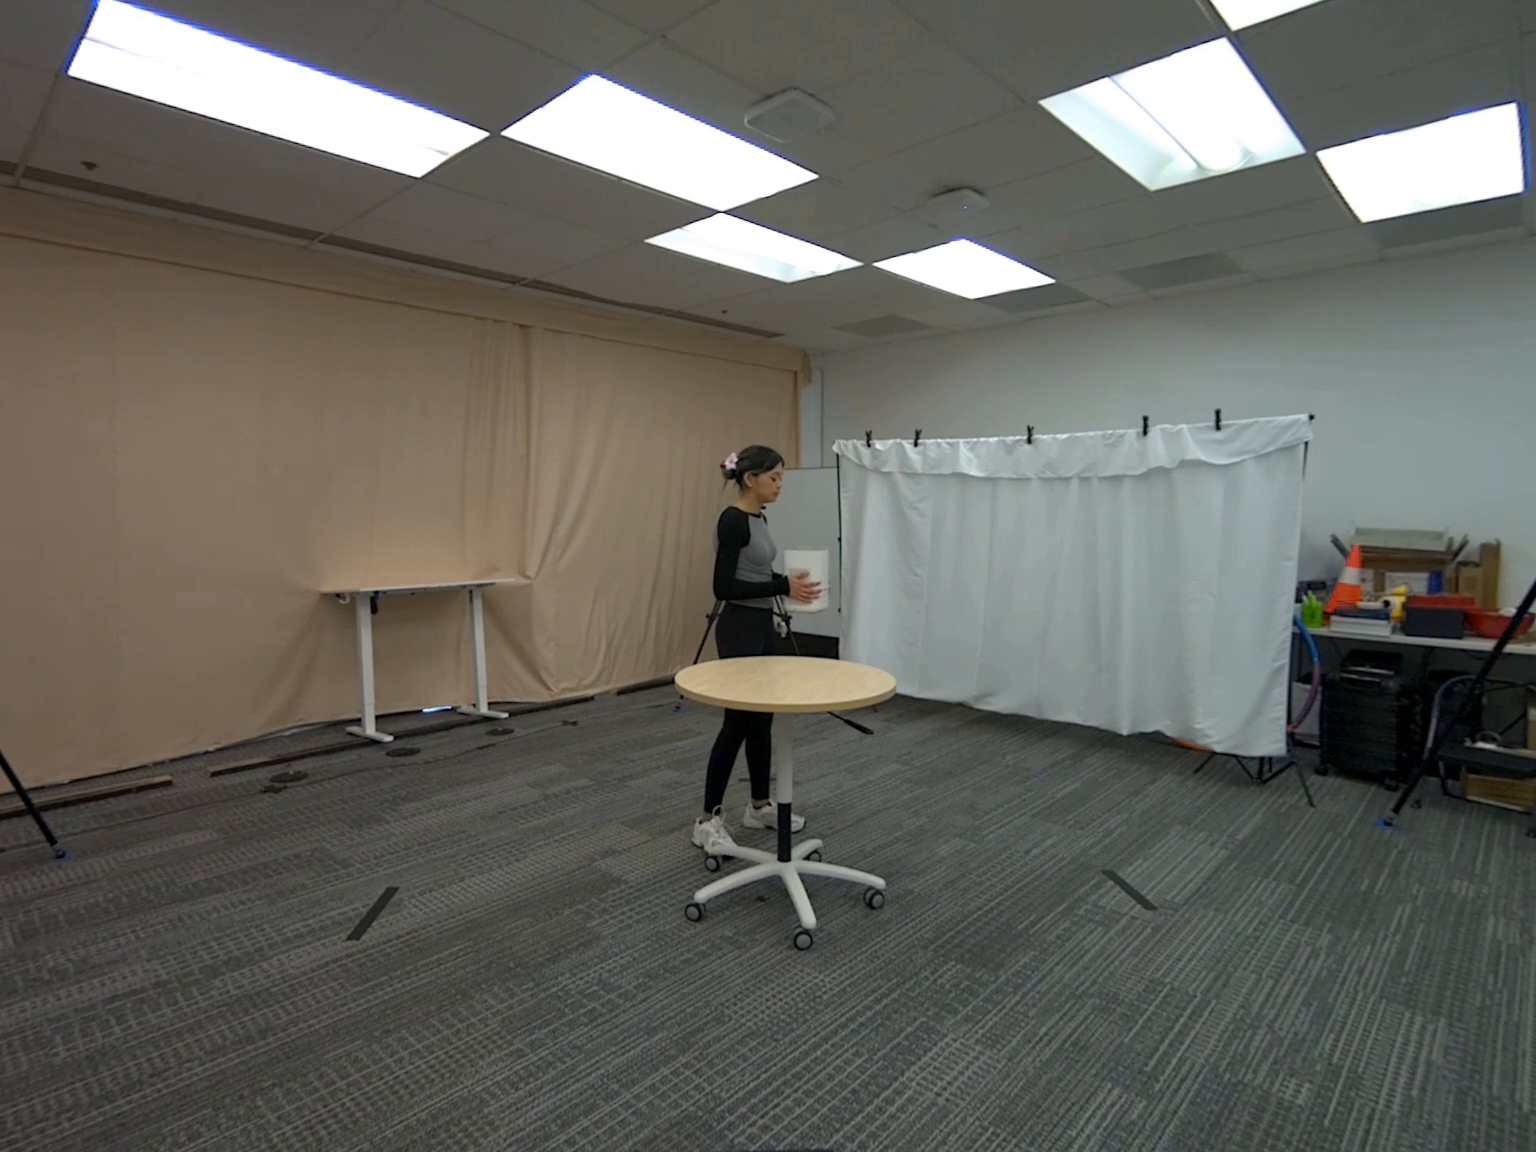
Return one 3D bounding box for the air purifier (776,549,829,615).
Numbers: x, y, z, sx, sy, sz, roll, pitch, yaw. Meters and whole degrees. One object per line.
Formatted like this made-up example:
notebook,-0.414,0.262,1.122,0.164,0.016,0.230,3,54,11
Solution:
air purifier,0.154,0.015,3.482,0.175,0.265,0.167,1,4,22
